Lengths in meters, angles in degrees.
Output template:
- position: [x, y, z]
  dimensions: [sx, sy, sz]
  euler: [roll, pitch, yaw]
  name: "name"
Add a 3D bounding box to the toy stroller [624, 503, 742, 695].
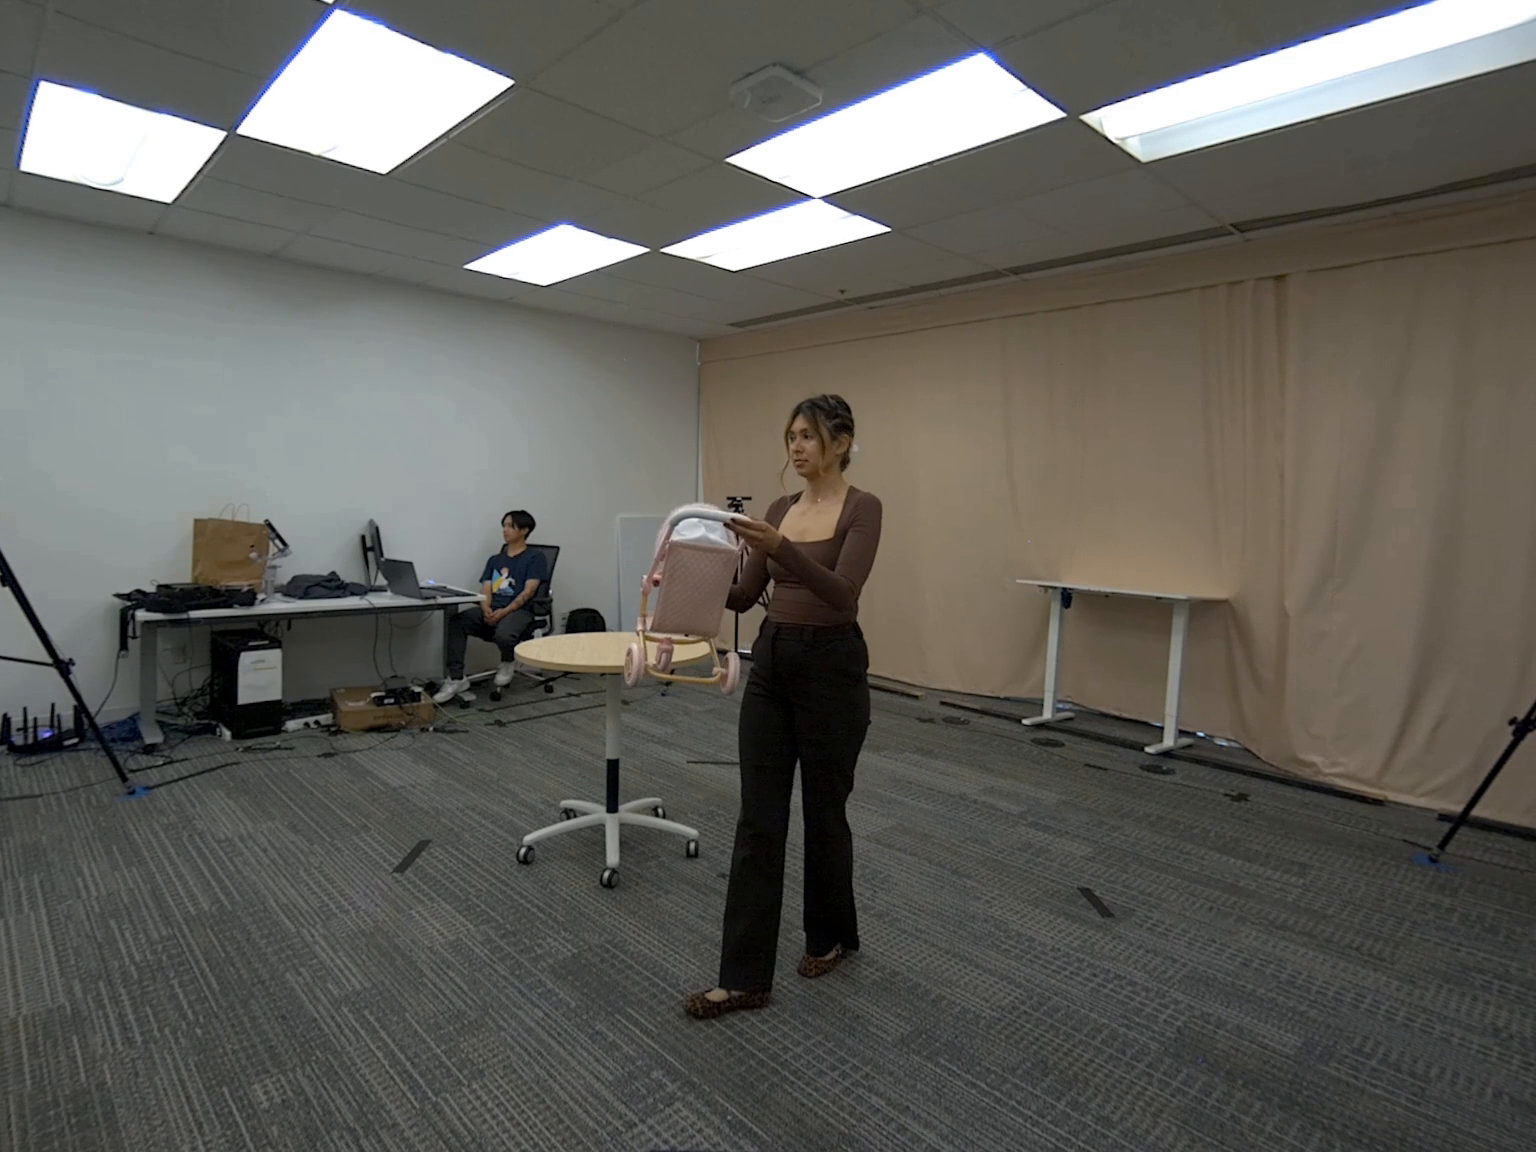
- position: [-0.212, 0.052, 2.169]
  dimensions: [0.278, 0.531, 0.348]
  euler: [9, 15, -14]
  name: "toy stroller"
